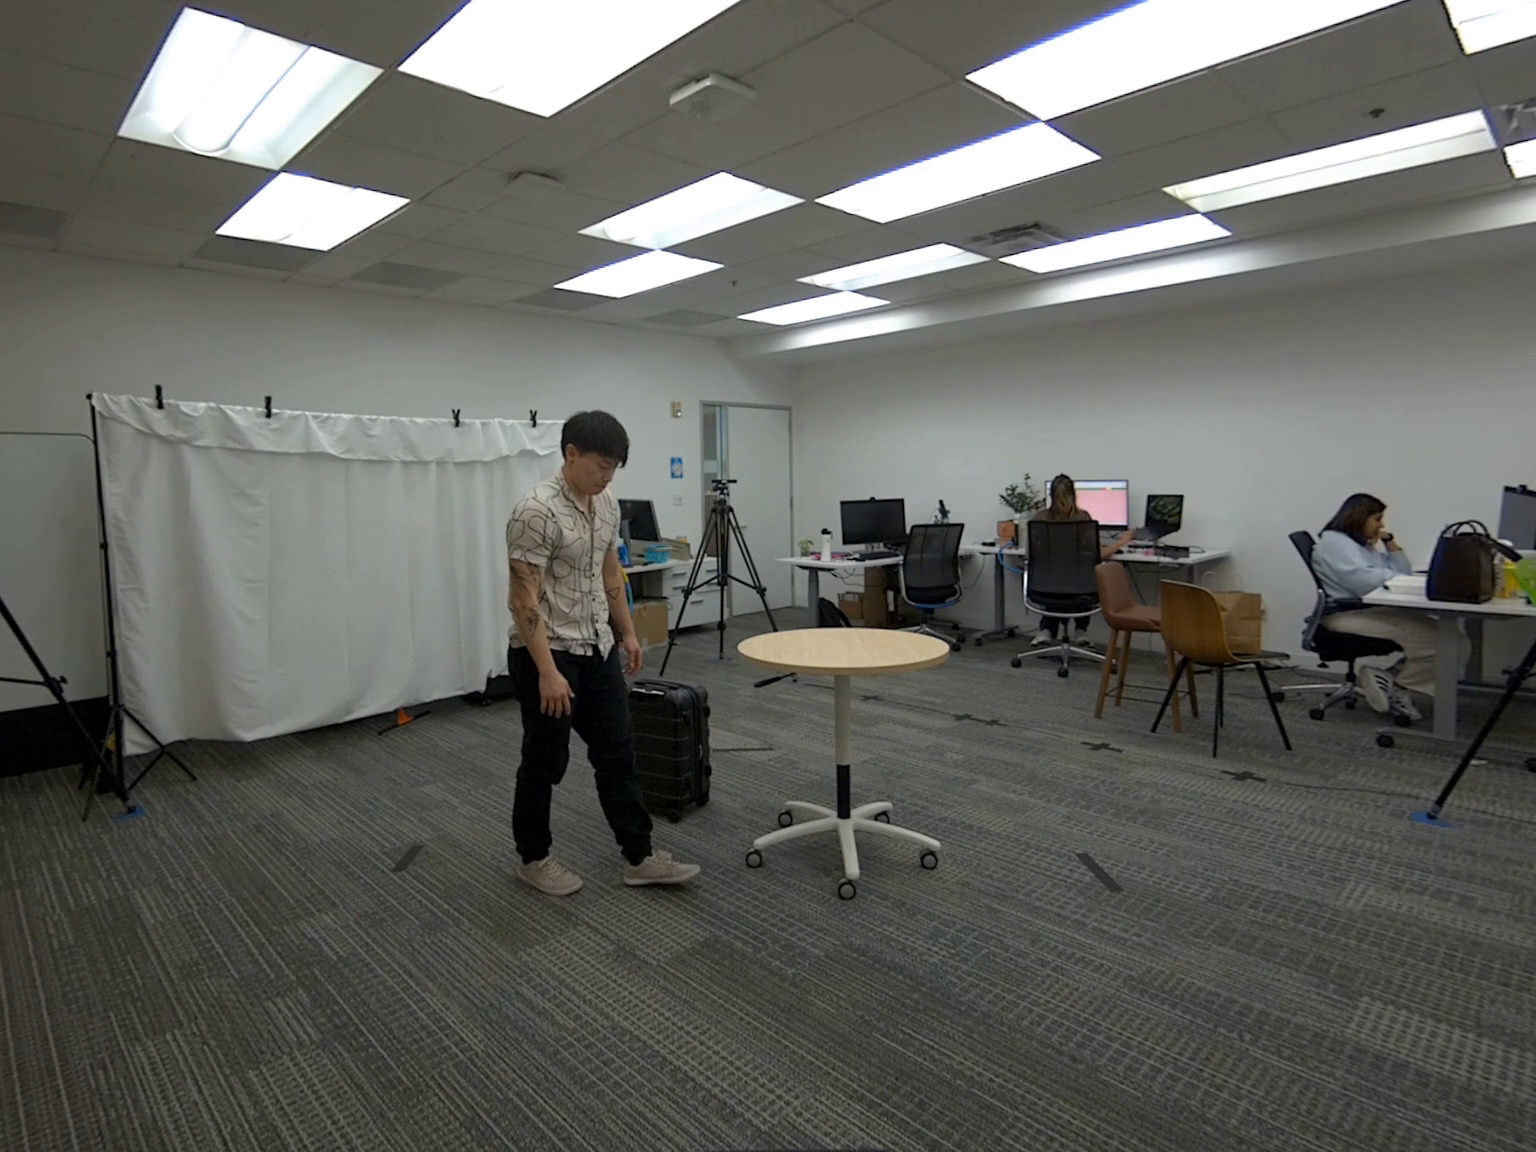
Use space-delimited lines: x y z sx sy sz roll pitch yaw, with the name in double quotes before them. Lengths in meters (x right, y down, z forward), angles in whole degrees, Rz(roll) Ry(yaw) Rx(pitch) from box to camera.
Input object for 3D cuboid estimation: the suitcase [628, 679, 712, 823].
"suitcase" -0.451 0.720 3.655 0.385 0.548 0.243 2 4 29
